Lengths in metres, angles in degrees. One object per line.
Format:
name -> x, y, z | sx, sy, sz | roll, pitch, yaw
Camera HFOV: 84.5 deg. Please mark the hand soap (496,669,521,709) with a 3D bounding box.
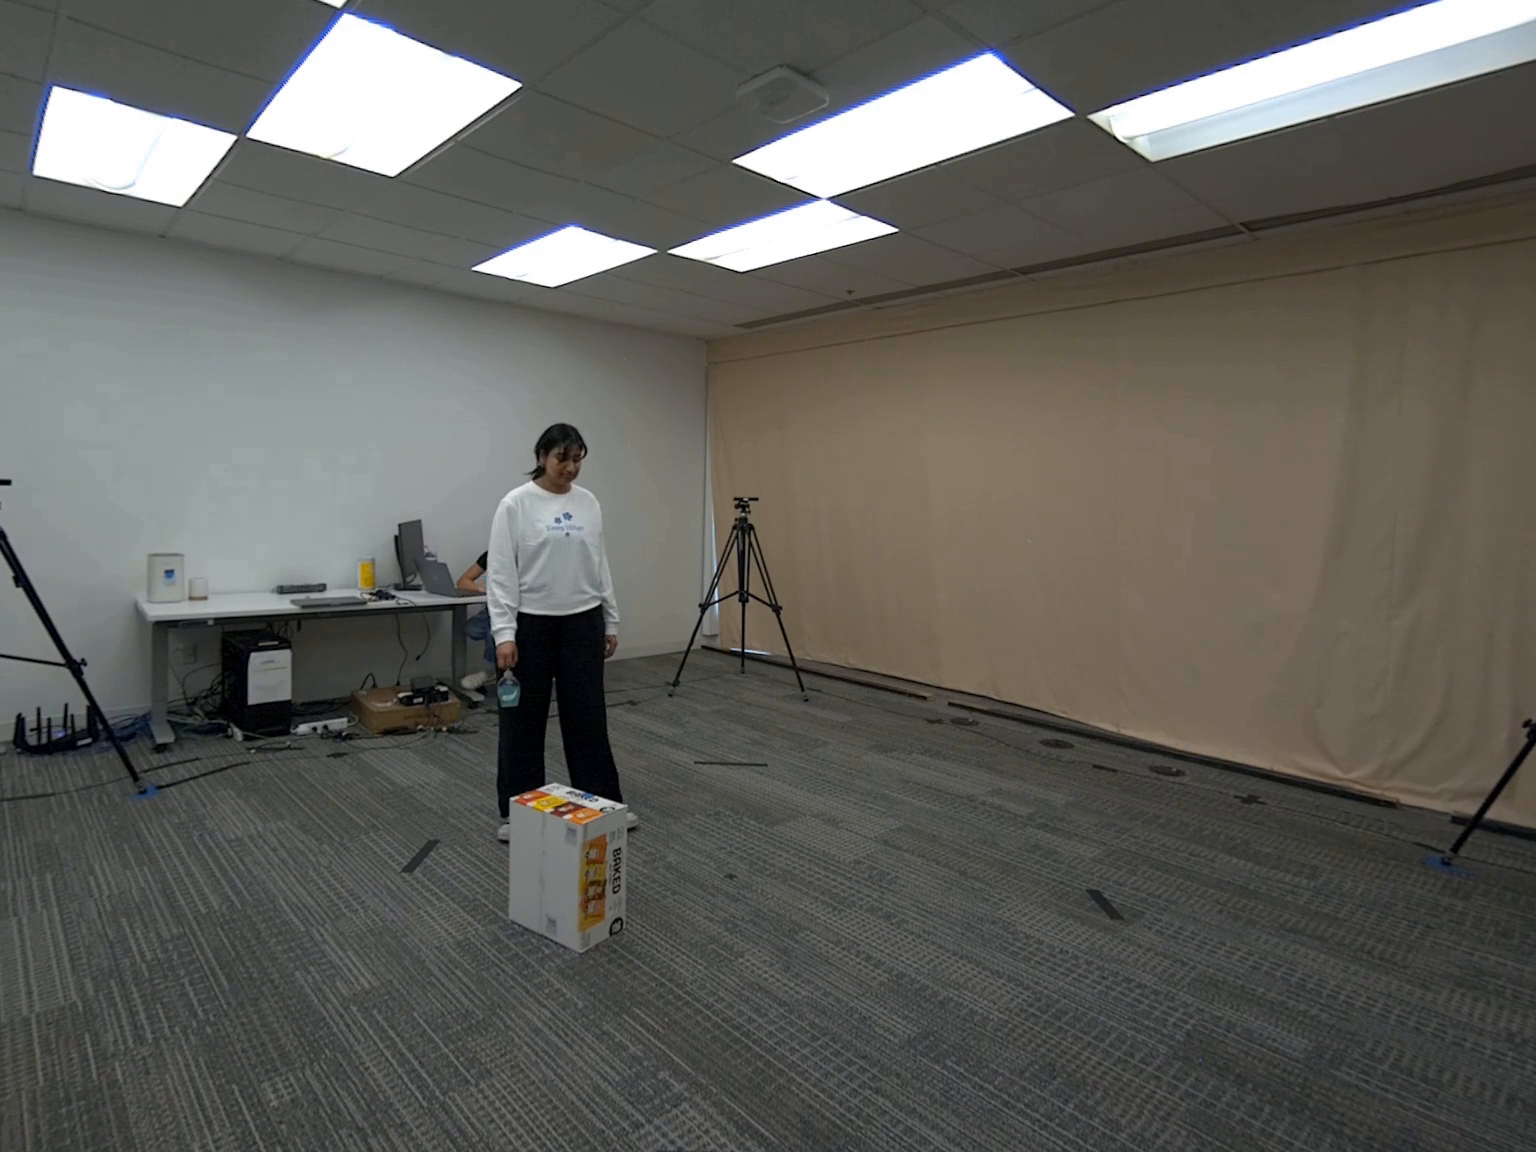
hand soap -> -1.015, 0.419, 3.246 | 0.085, 0.168, 0.043 | -5, 1, 1
